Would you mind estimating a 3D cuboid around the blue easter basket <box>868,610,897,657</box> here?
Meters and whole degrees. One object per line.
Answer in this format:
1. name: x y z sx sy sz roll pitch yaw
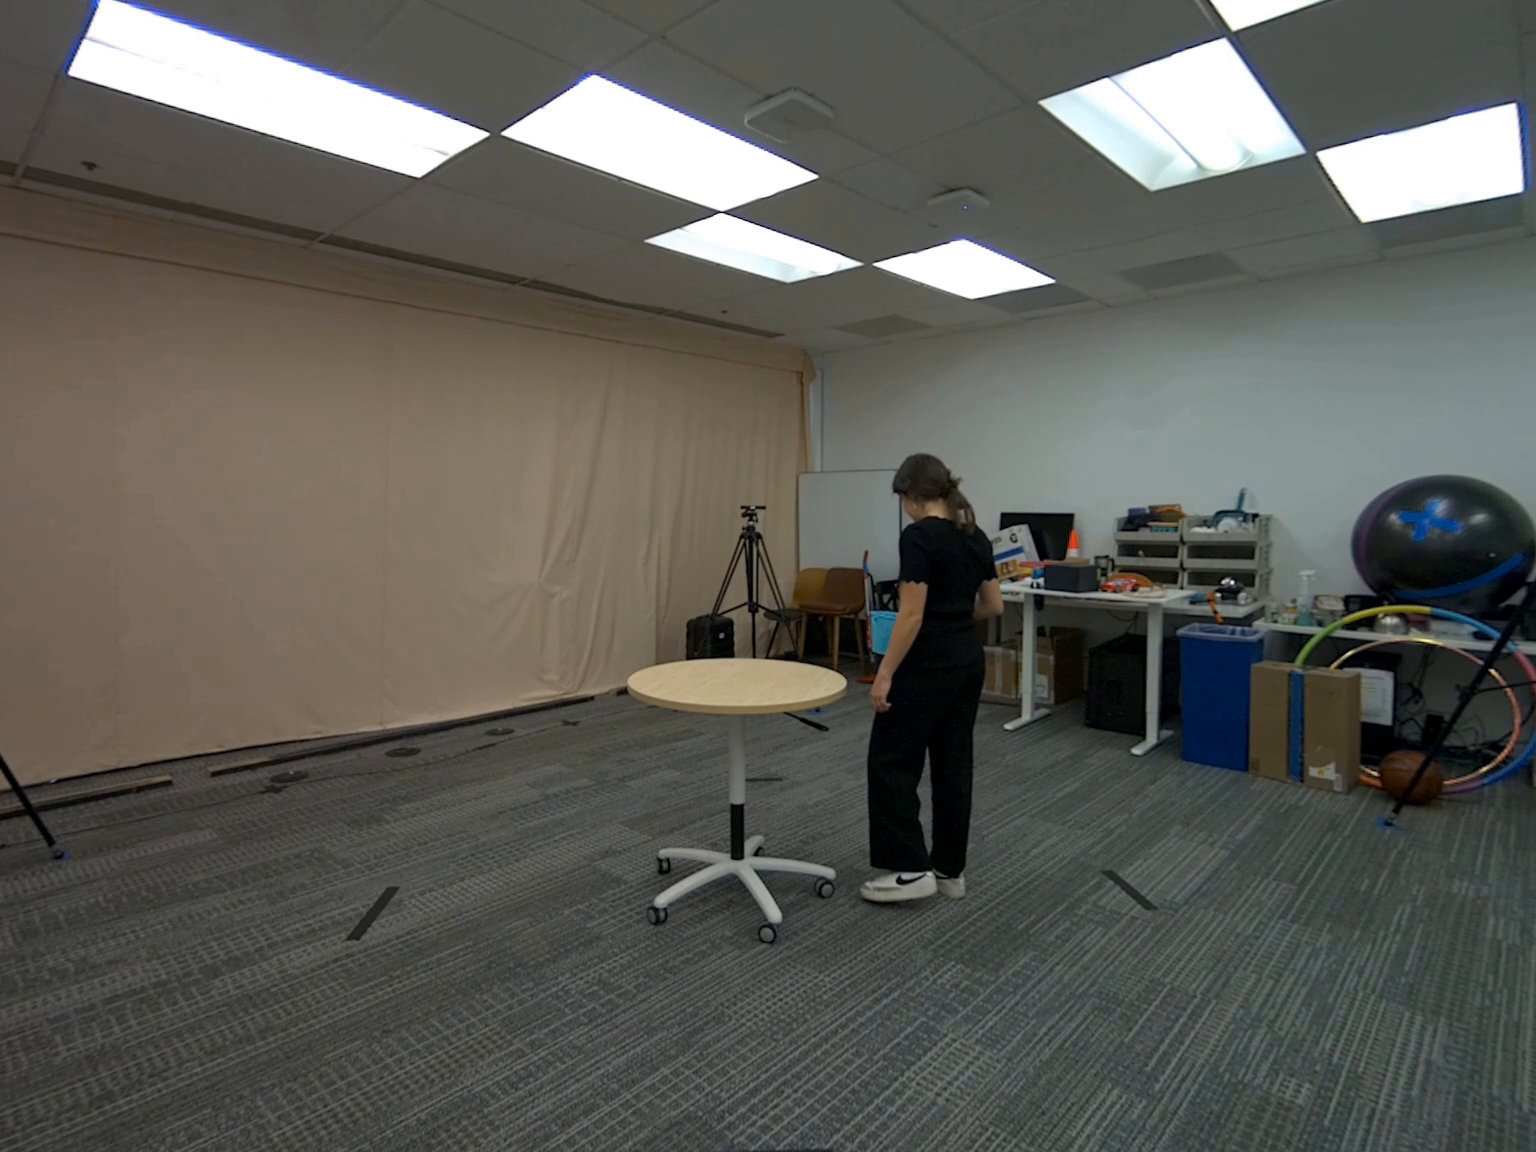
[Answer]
1. blue easter basket: 0.520 0.232 3.388 0.243 0.155 0.244 5 3 -2
